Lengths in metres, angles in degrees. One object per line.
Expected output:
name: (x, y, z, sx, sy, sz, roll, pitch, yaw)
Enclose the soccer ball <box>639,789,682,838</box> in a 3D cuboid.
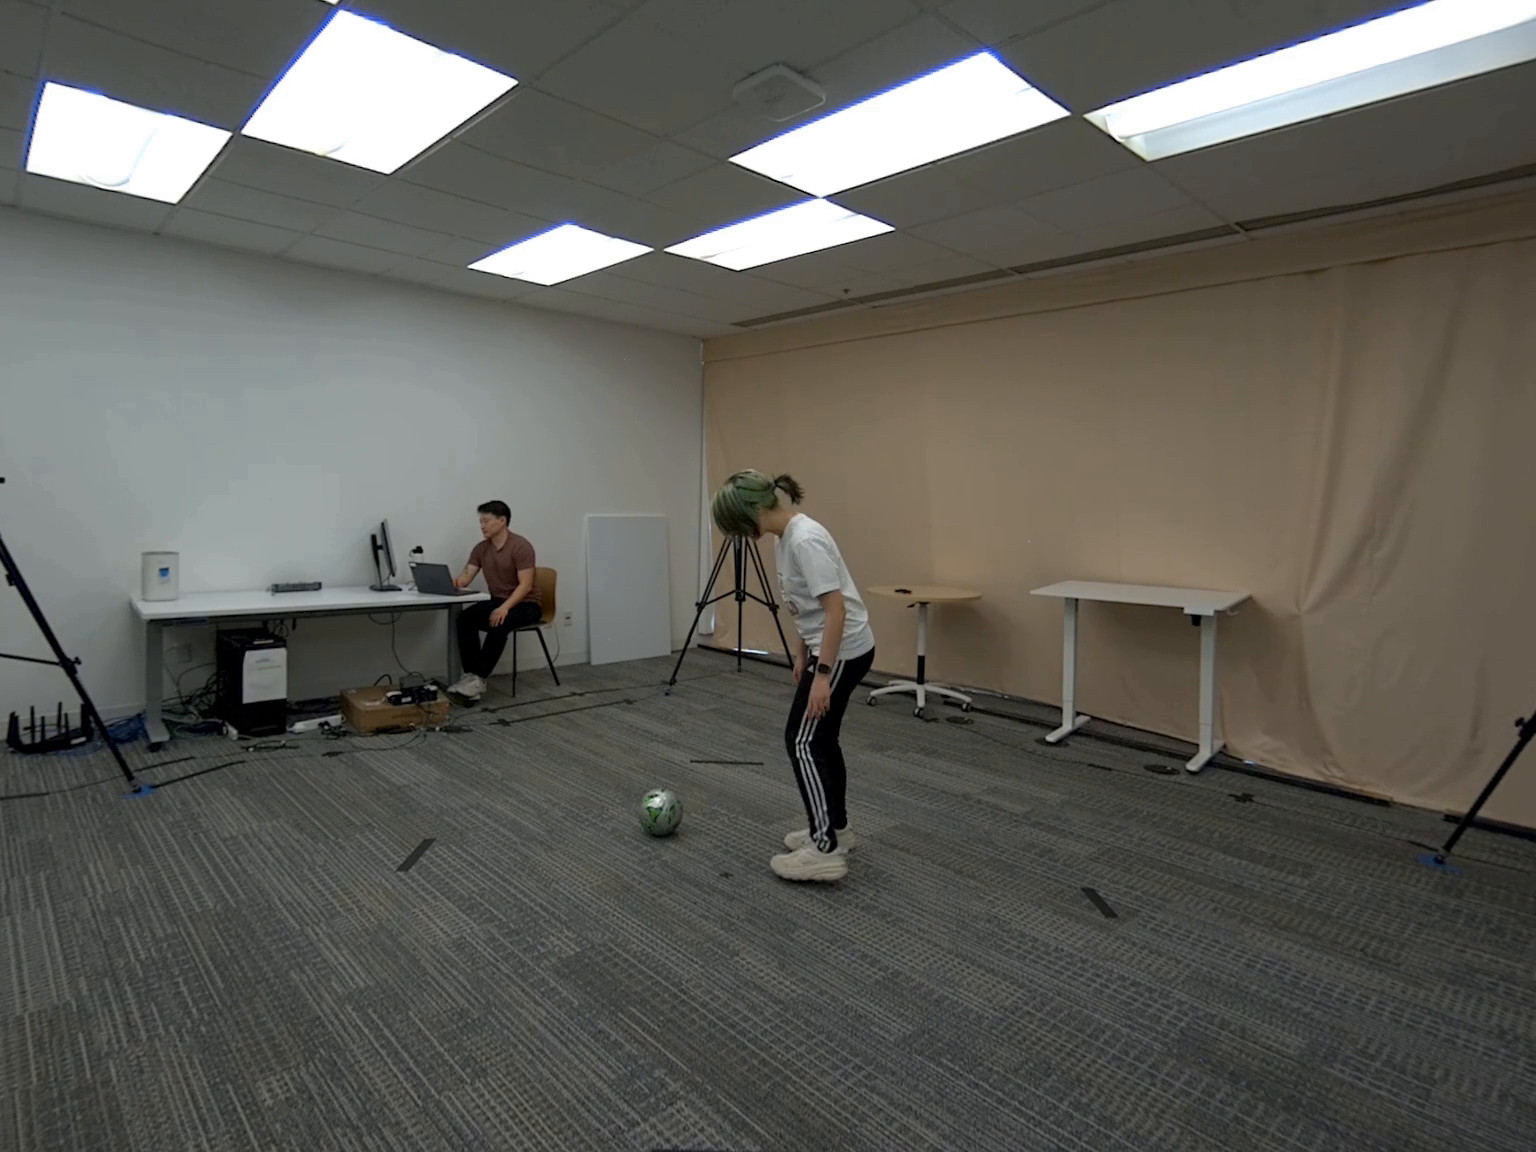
soccer ball: (-0.445, 0.964, 3.467, 0.187, 0.187, 0.188, 1, 4, -1)
